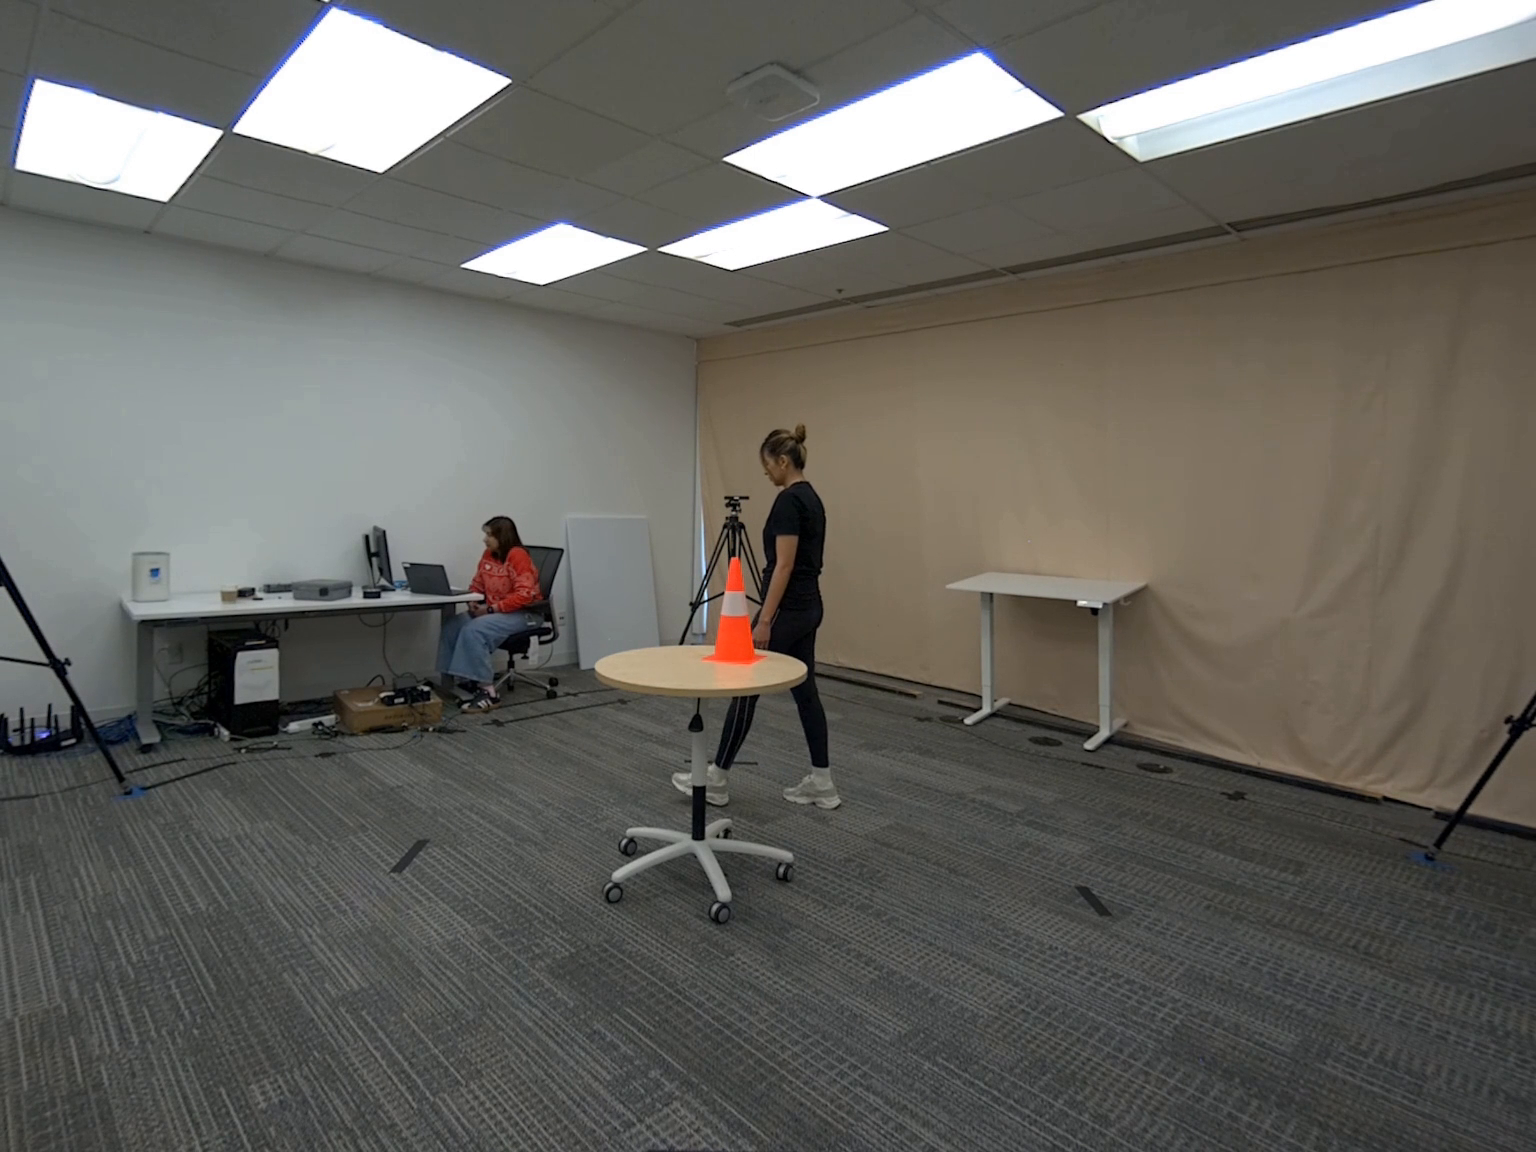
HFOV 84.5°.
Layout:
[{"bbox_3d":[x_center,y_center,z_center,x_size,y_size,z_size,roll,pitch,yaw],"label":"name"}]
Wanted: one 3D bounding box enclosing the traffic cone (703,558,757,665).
[{"bbox_3d":[-0.127,0.127,3.175,0.207,0.383,0.201,2,3,24],"label":"traffic cone"}]
